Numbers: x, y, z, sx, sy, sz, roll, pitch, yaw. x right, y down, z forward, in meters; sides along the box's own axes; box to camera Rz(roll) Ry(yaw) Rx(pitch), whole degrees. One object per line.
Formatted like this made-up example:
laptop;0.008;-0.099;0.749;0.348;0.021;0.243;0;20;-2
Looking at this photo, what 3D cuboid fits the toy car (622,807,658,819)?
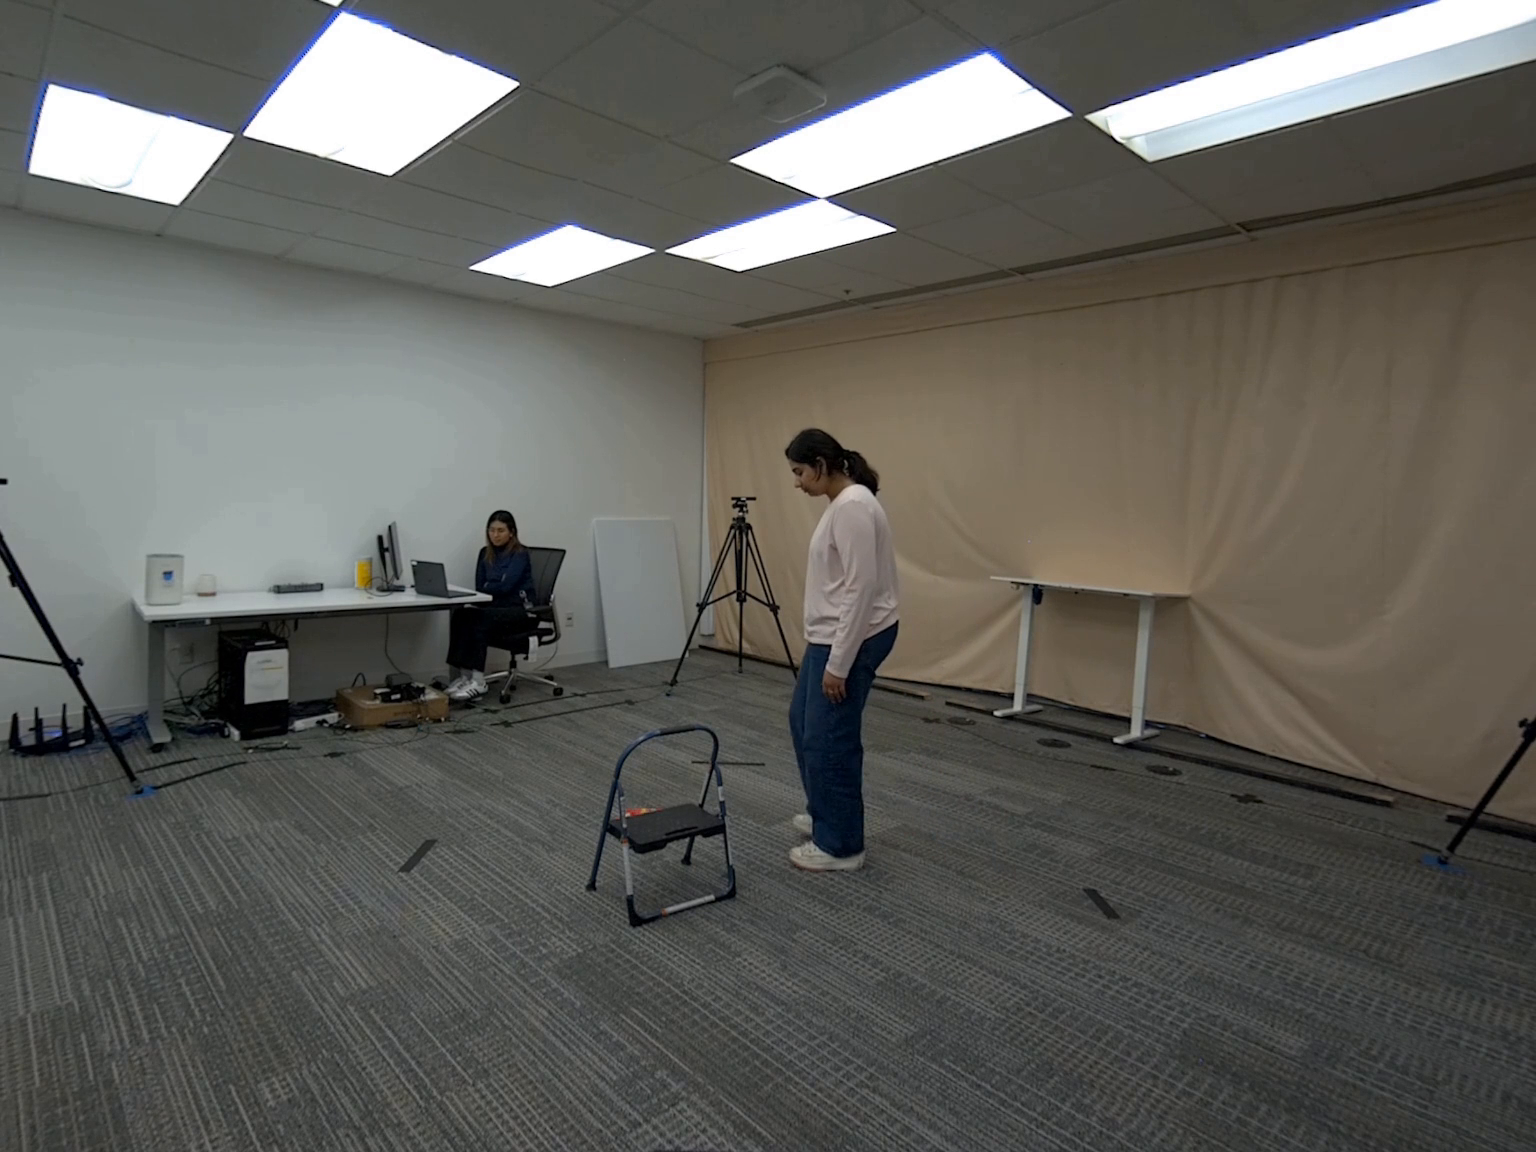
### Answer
toy car;-0.529;1.023;3.538;0.248;0.083;0.133;12;-5;-39
